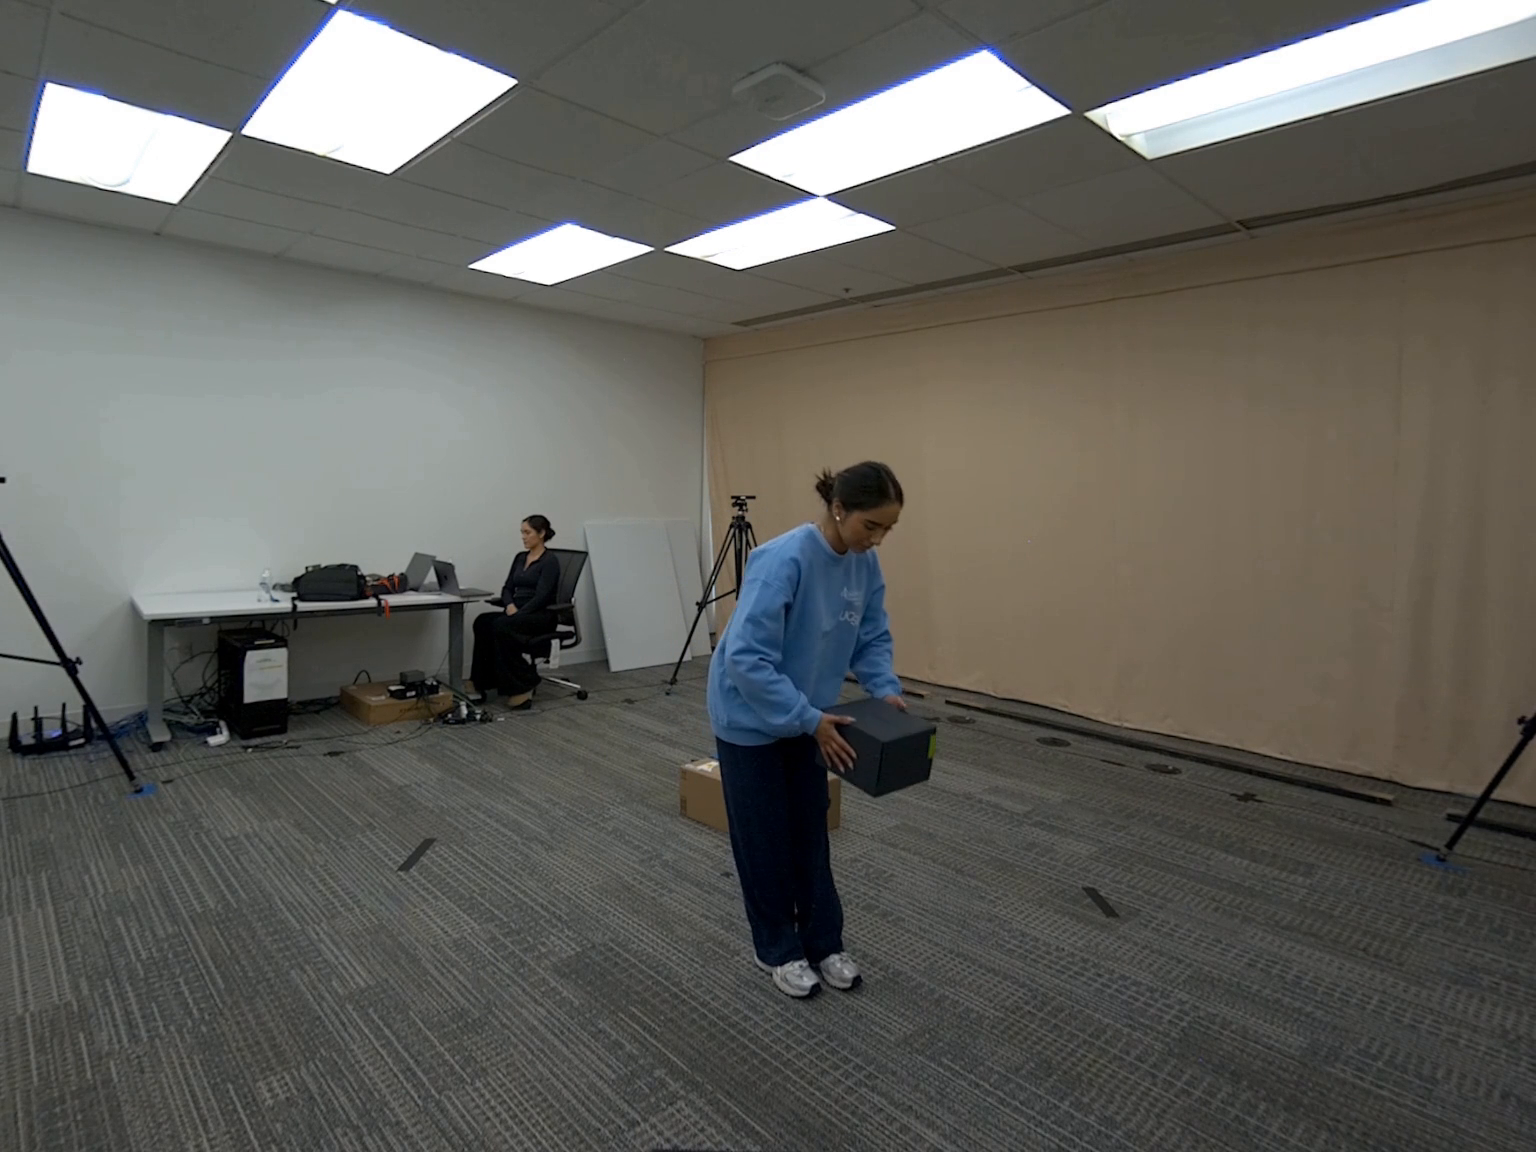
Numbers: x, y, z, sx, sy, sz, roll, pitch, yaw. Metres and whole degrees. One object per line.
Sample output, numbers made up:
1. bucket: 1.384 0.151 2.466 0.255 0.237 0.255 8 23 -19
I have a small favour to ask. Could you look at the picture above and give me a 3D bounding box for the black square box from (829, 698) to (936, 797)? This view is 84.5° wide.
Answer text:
1. black square box: 0.275 0.454 2.241 0.212 0.155 0.234 -5 15 -40
